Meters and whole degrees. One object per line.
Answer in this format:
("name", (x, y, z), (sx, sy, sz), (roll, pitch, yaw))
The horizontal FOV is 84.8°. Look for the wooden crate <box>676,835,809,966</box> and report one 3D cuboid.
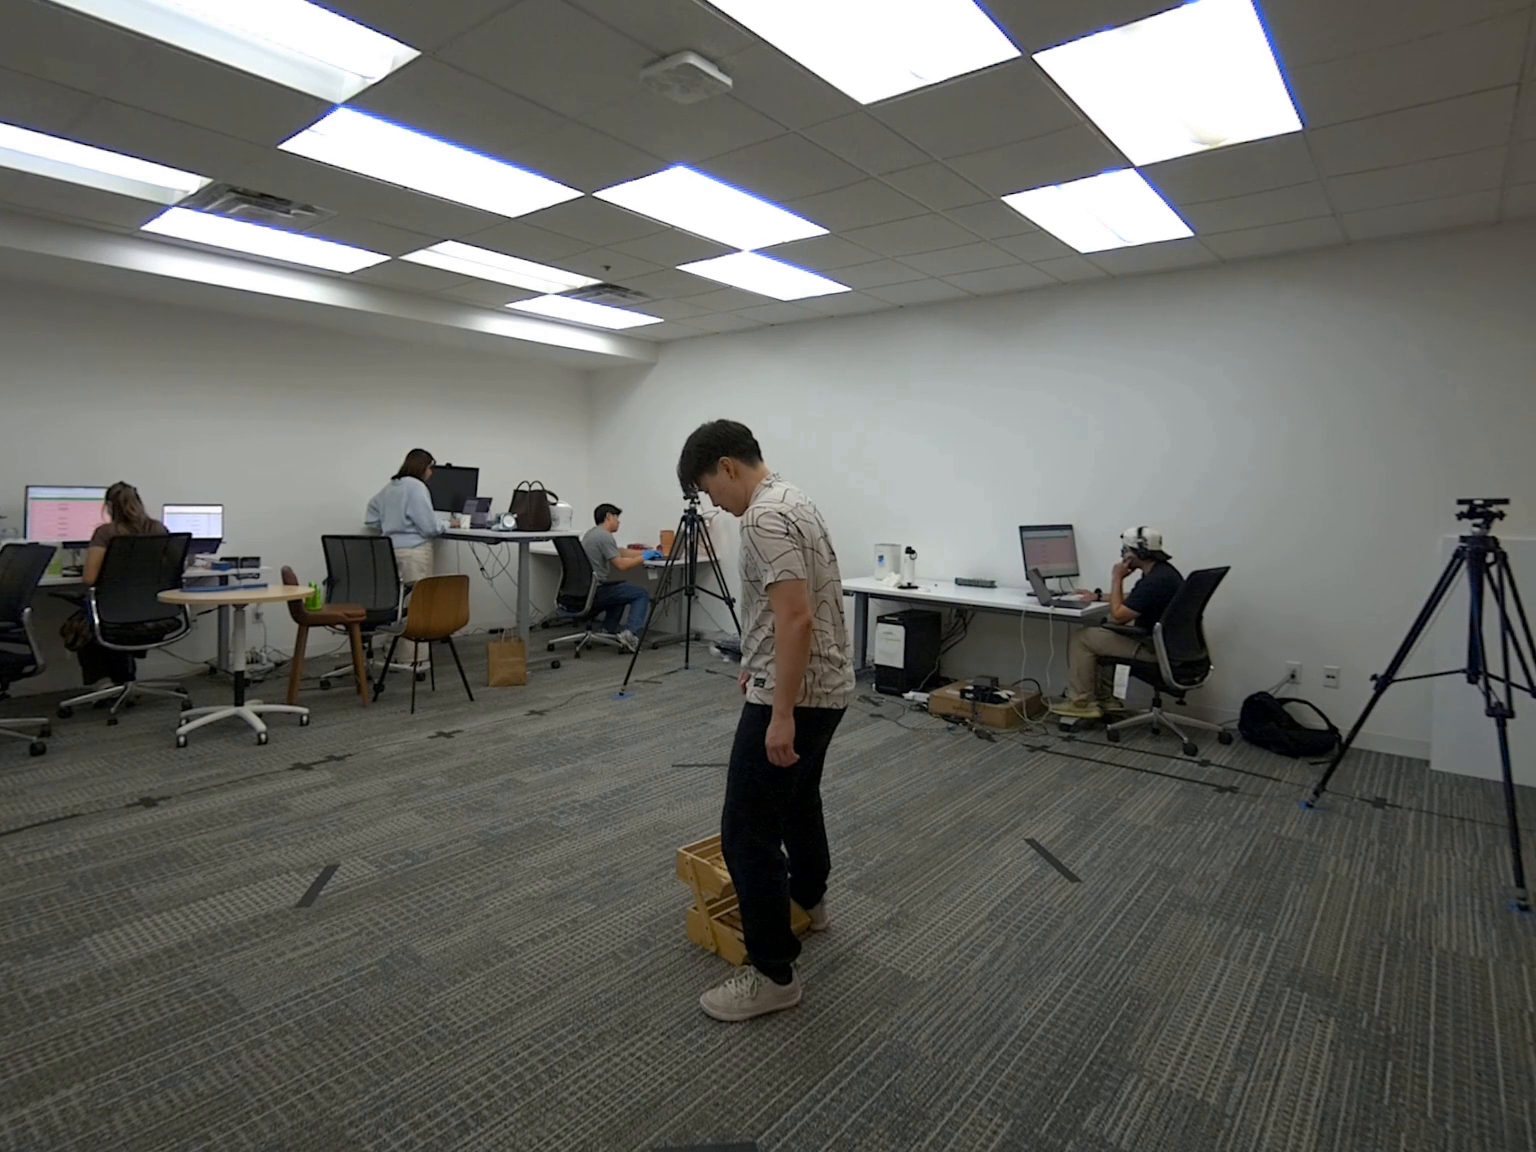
("wooden crate", (-0.087, 0.980, 2.654), (0.312, 0.272, 0.314), (5, 6, 44))
